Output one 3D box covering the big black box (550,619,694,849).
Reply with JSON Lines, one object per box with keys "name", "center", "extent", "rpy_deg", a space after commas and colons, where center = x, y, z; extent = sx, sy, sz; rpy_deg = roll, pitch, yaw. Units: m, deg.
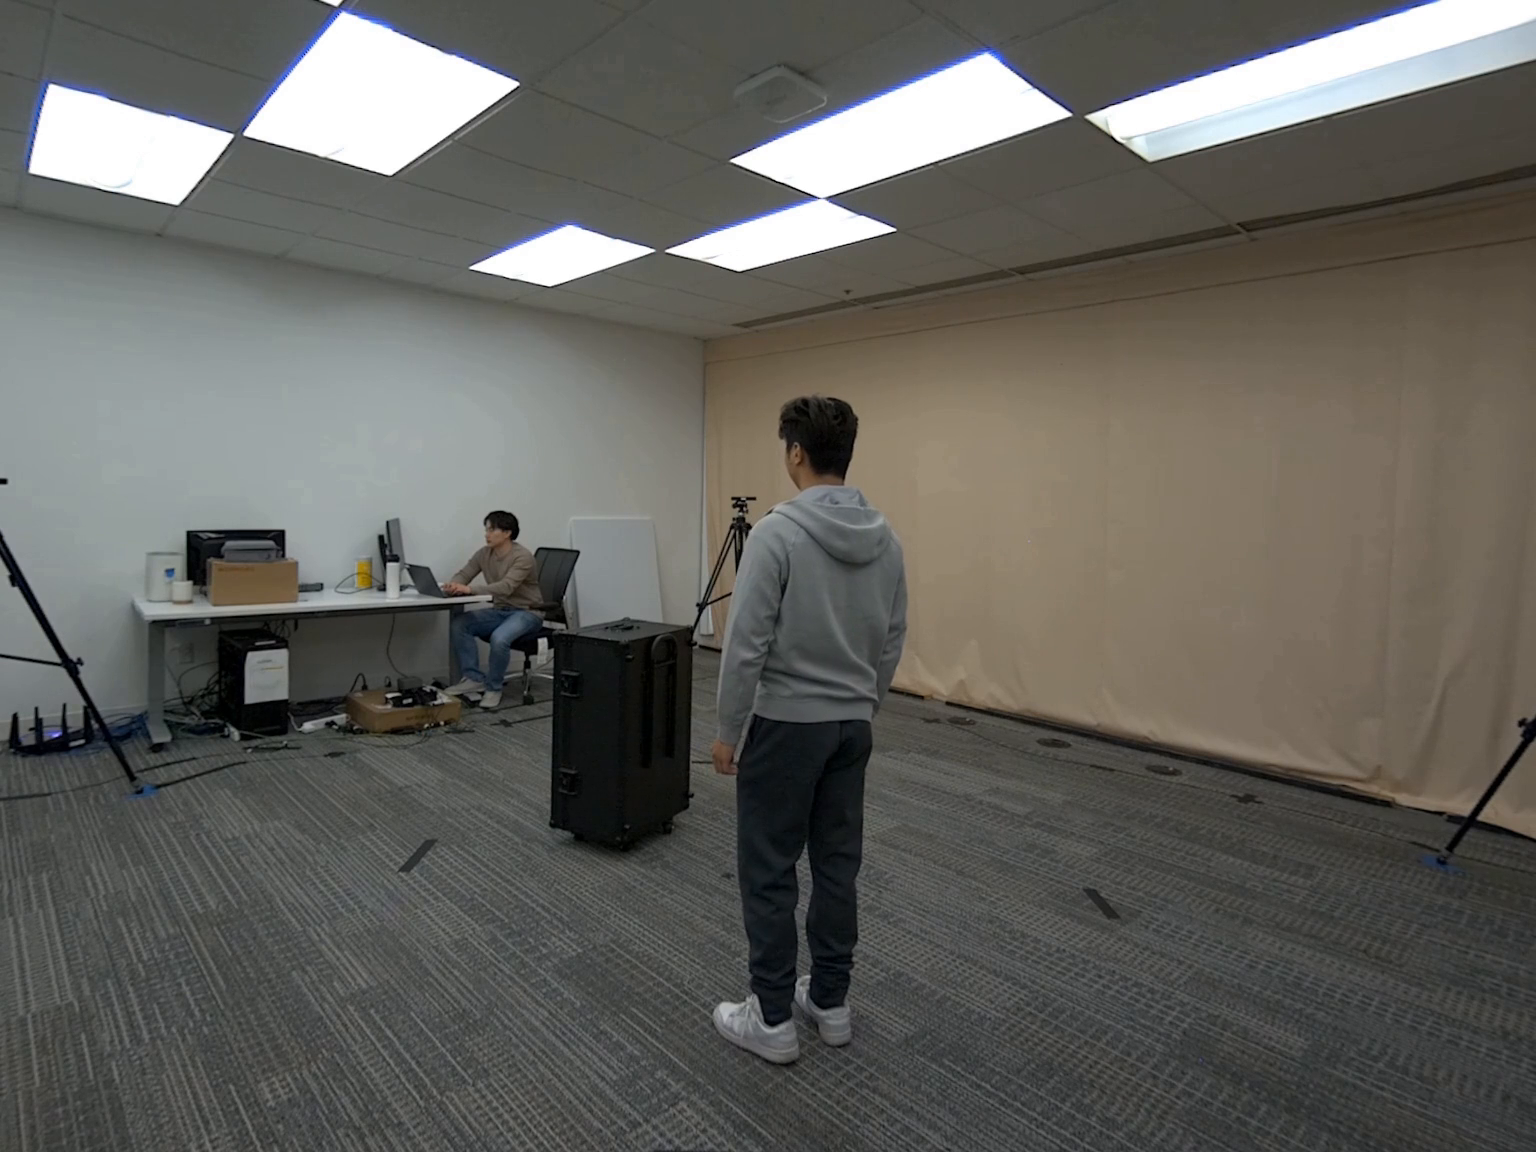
{"name": "big black box", "center": [-0.587, 0.641, 3.449], "extent": [0.405, 0.859, 0.511], "rpy_deg": [4, 4, 28]}
